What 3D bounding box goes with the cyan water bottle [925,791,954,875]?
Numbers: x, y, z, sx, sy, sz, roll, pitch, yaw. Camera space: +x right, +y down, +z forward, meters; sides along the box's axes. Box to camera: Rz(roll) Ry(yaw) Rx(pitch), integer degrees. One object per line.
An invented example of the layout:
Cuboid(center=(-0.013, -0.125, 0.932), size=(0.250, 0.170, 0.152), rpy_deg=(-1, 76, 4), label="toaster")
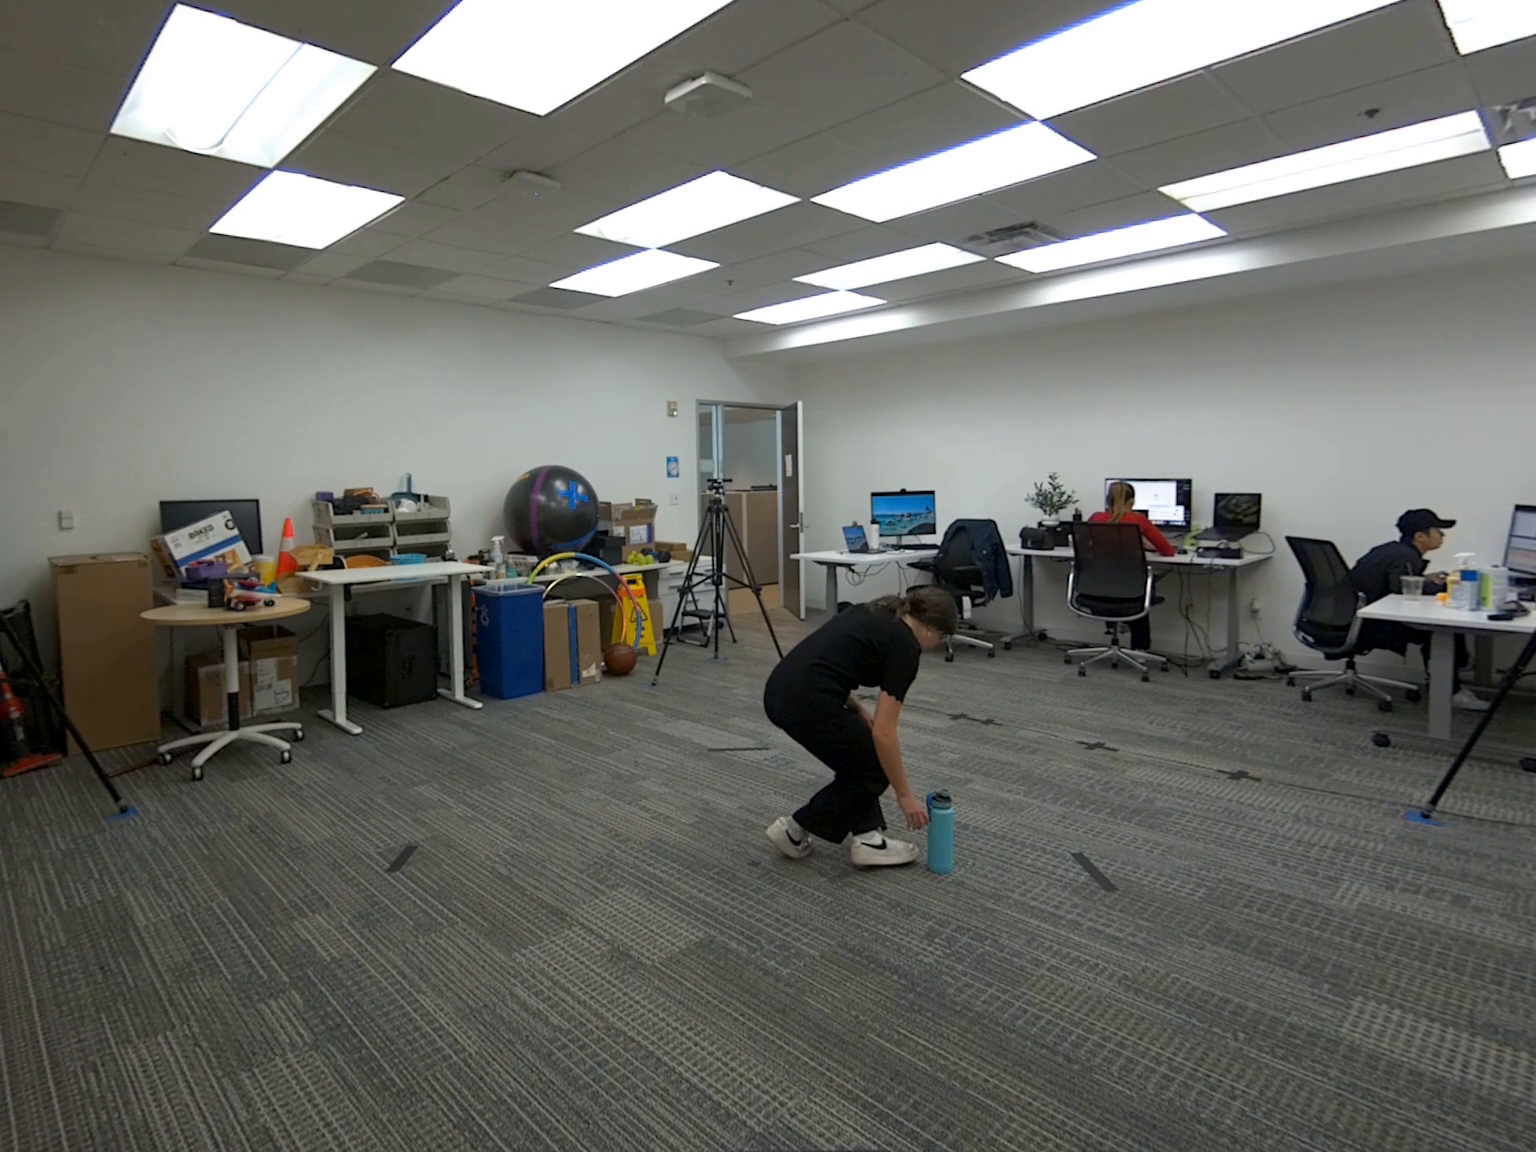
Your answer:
Cuboid(center=(0.606, 0.897, 3.024), size=(0.092, 0.282, 0.093), rpy_deg=(-1, 4, -2), label="cyan water bottle")
